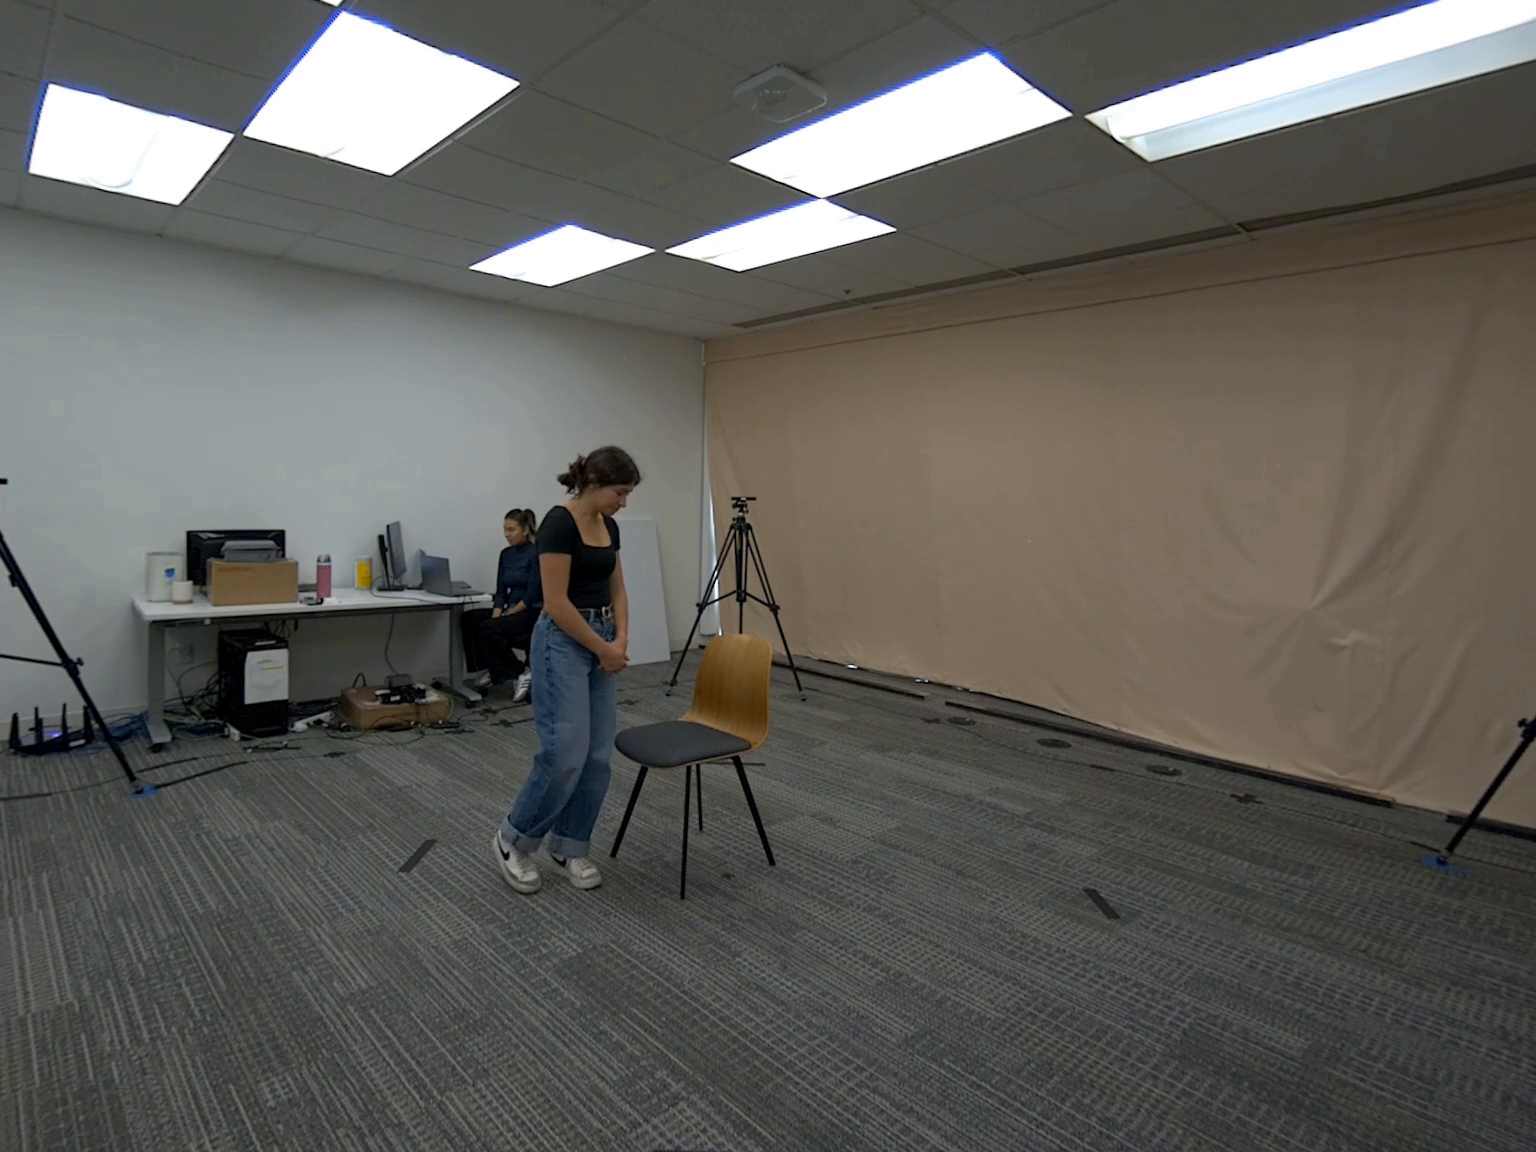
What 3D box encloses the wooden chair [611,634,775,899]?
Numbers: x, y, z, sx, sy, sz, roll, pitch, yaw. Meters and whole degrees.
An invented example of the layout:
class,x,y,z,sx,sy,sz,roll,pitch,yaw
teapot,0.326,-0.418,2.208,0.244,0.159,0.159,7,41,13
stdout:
class,x,y,z,sx,sy,sz,roll,pitch,yaw
wooden chair,-0.286,0.671,3.190,0.510,0.877,0.490,4,1,-43
